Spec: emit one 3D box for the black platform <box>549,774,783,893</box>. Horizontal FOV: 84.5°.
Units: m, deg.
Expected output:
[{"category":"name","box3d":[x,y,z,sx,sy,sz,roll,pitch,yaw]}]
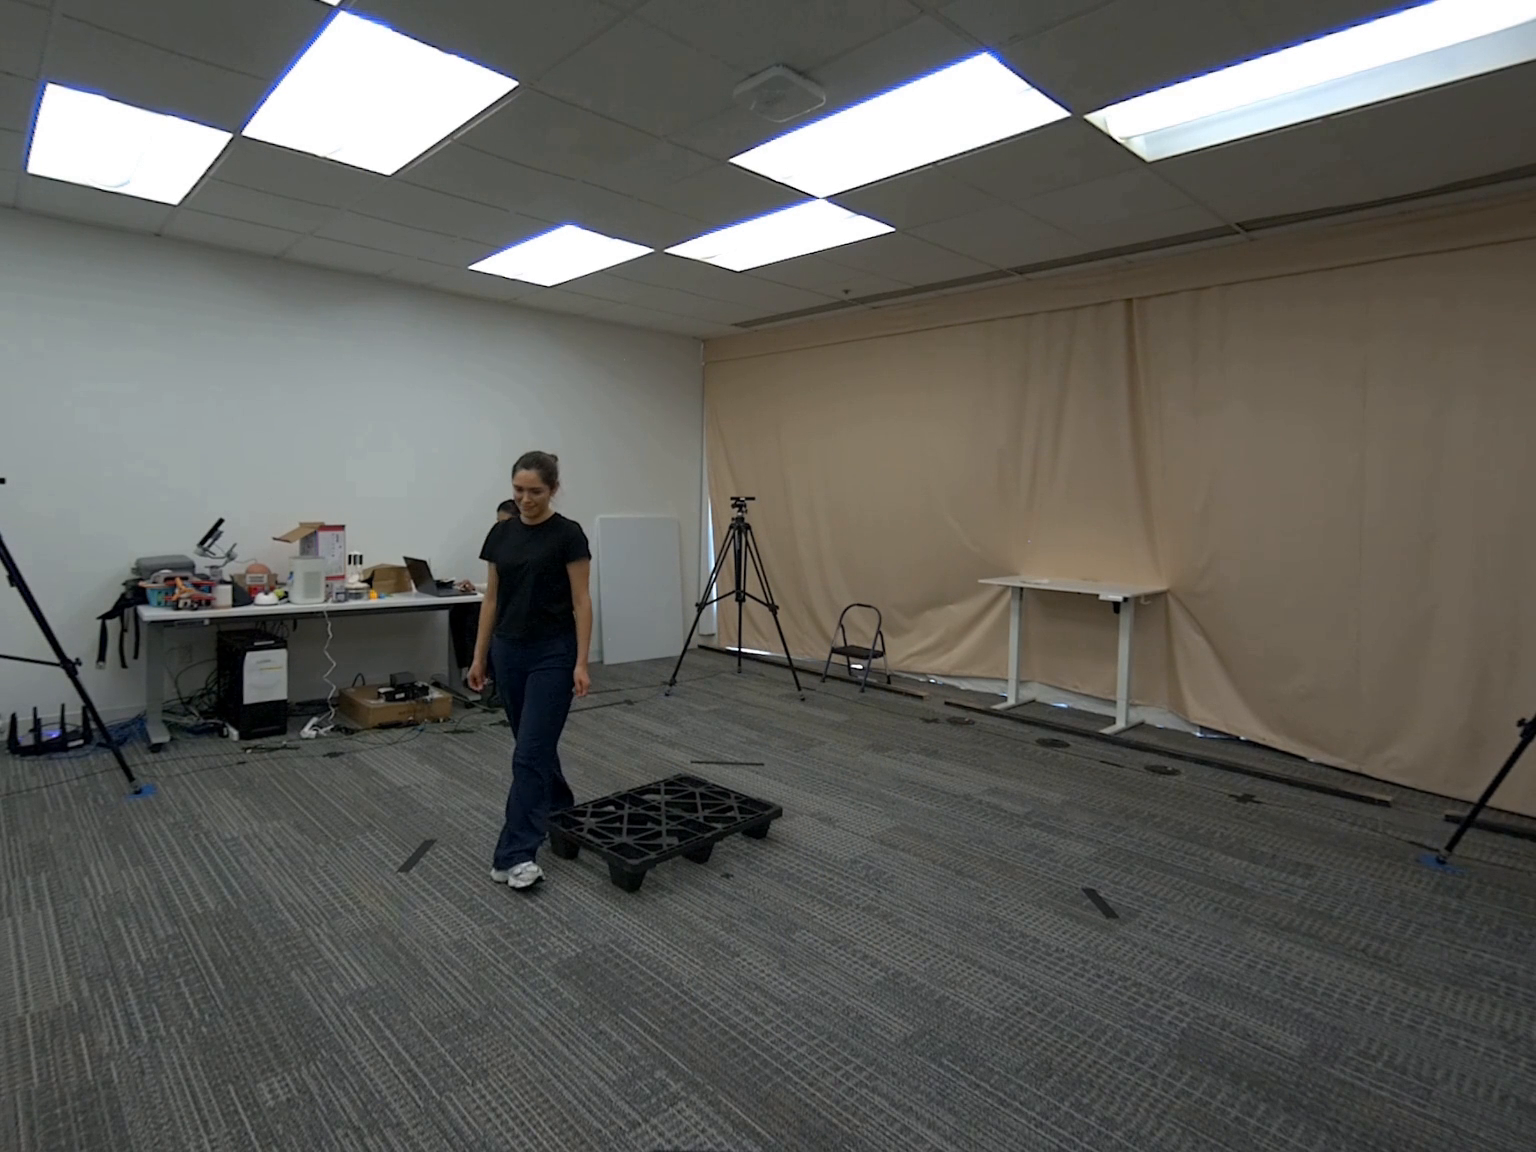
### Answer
[{"category":"black platform","box3d":[-0.430,1.012,3.352,0.620,0.143,0.787,5,6,42]}]
